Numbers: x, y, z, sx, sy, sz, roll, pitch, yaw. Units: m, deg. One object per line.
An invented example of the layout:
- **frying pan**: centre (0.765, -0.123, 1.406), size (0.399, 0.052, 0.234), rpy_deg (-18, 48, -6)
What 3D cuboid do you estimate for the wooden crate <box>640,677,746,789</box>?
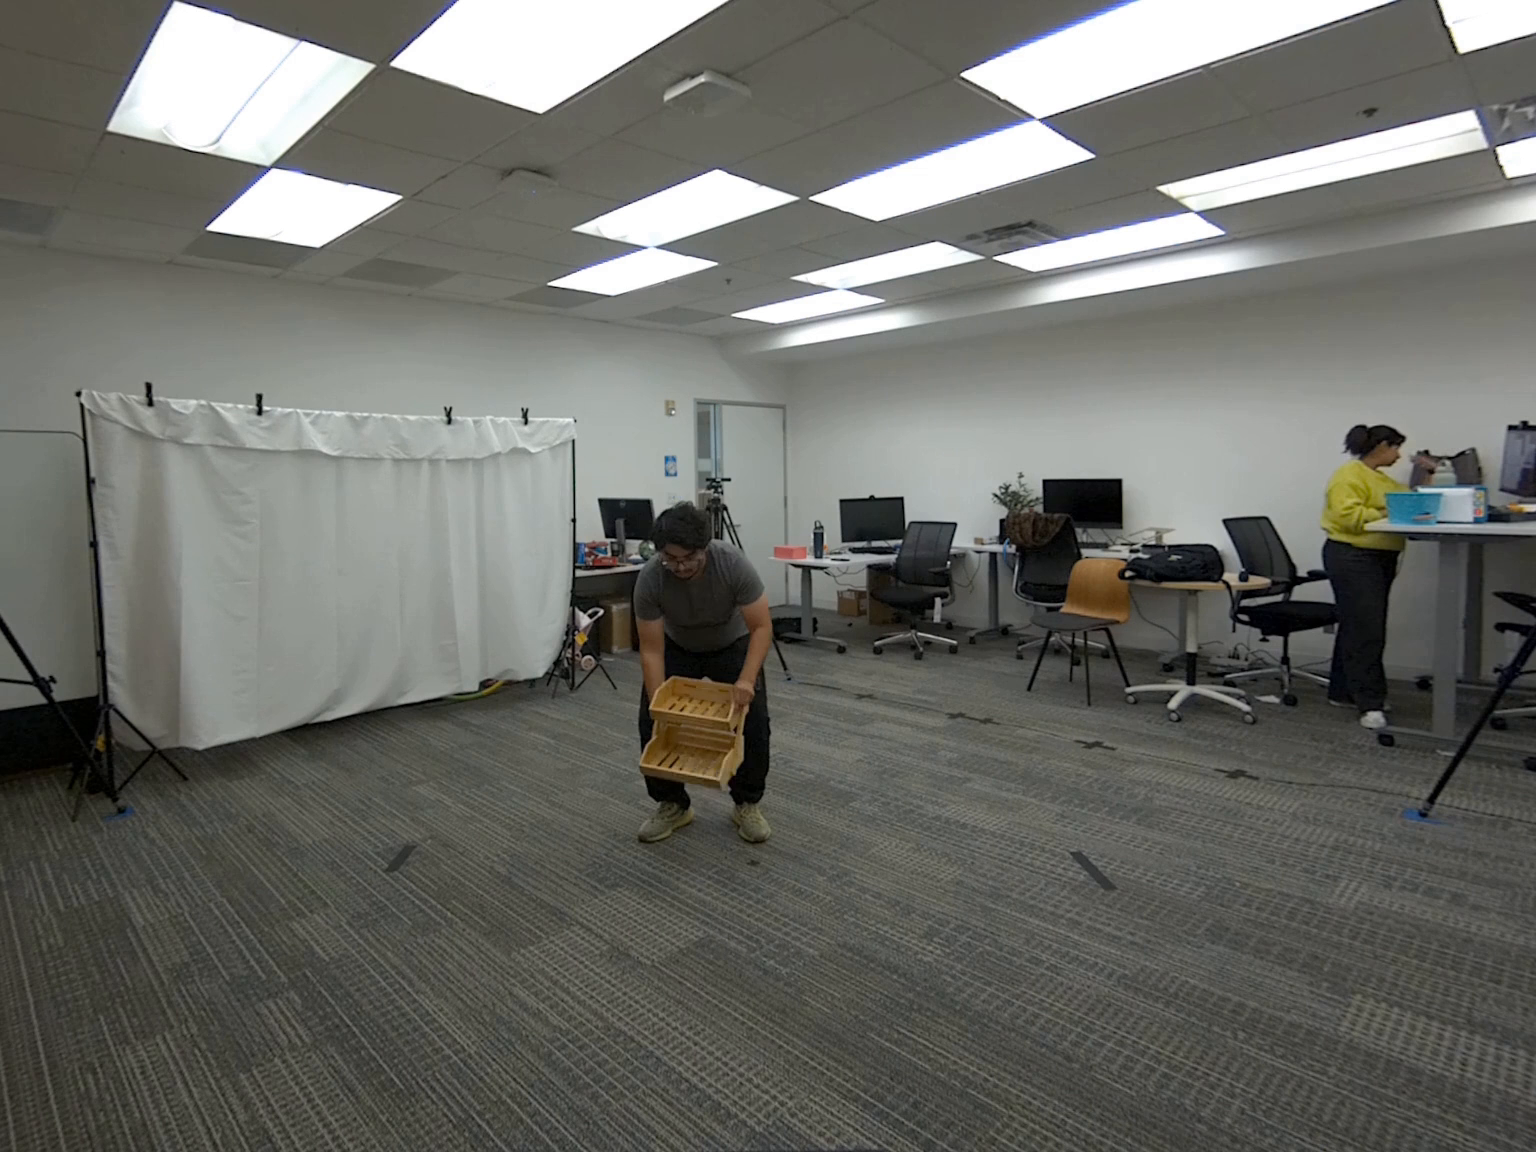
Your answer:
- **wooden crate**: centre (-0.266, 0.546, 3.026), size (0.331, 0.270, 0.300), rpy_deg (5, 14, 18)
